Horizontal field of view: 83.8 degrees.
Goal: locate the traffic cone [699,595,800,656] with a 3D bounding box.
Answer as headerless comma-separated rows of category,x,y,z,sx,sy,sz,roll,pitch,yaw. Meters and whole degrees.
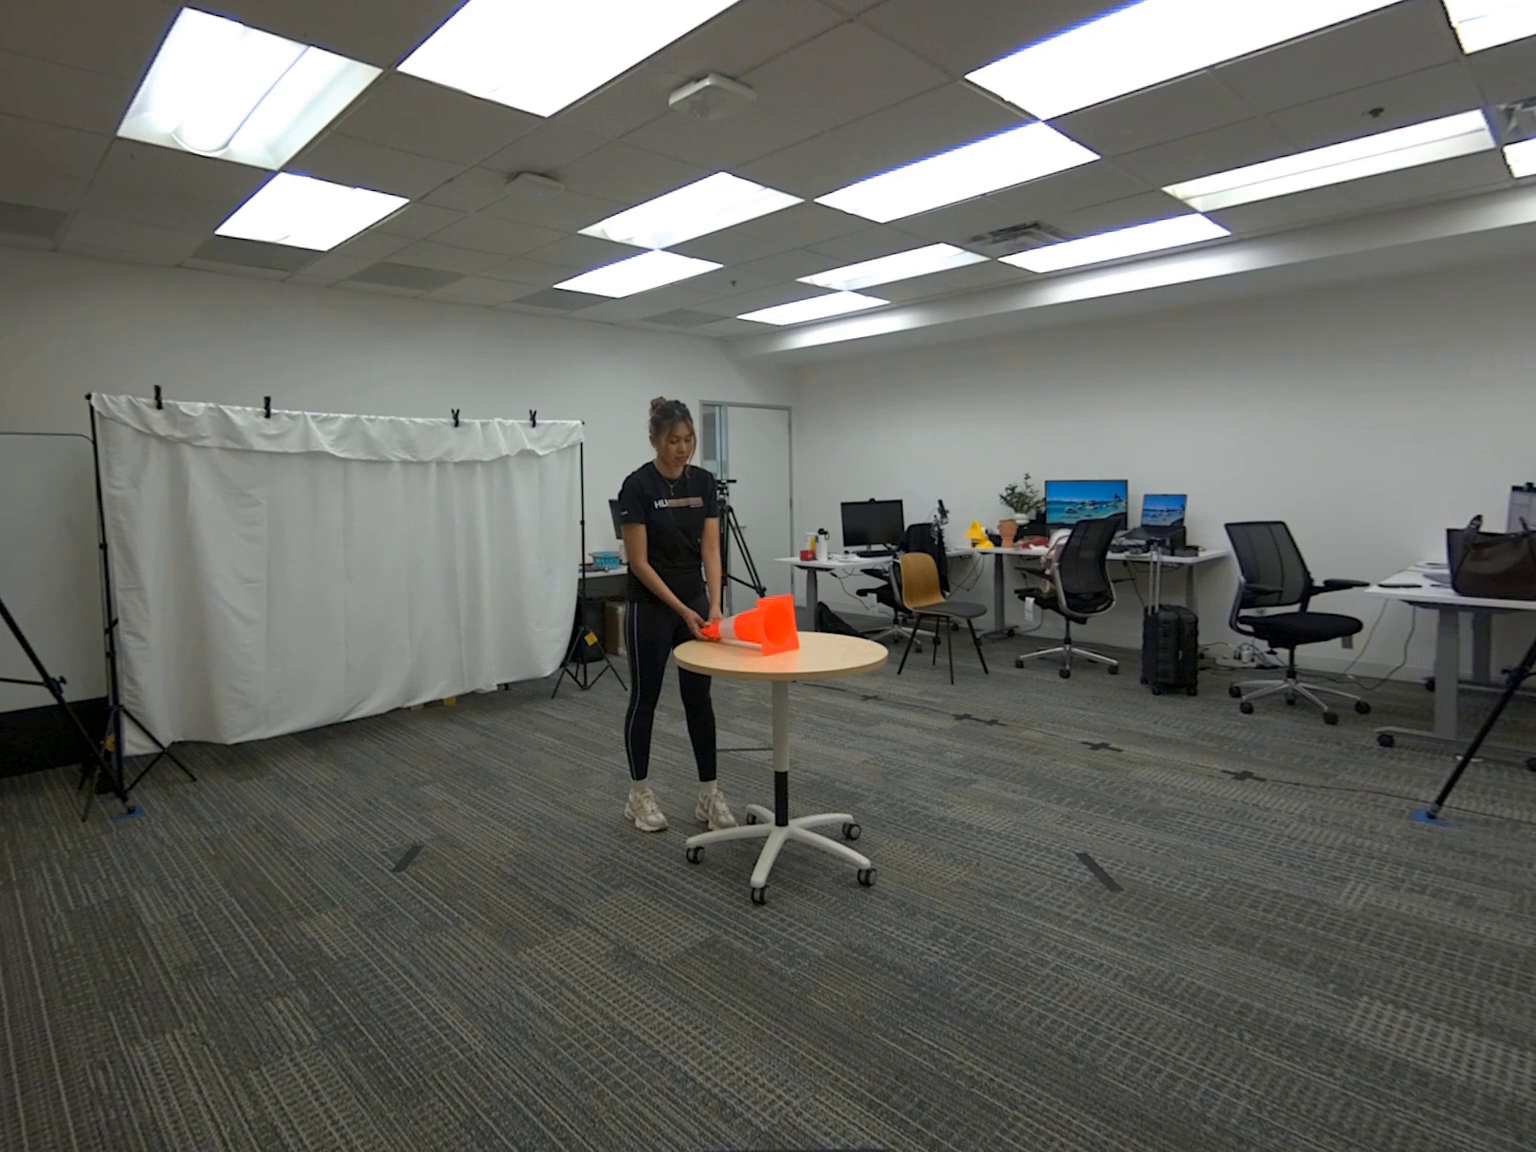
traffic cone,-0.101,0.200,3.156,0.392,0.206,0.198,-12,-6,42
